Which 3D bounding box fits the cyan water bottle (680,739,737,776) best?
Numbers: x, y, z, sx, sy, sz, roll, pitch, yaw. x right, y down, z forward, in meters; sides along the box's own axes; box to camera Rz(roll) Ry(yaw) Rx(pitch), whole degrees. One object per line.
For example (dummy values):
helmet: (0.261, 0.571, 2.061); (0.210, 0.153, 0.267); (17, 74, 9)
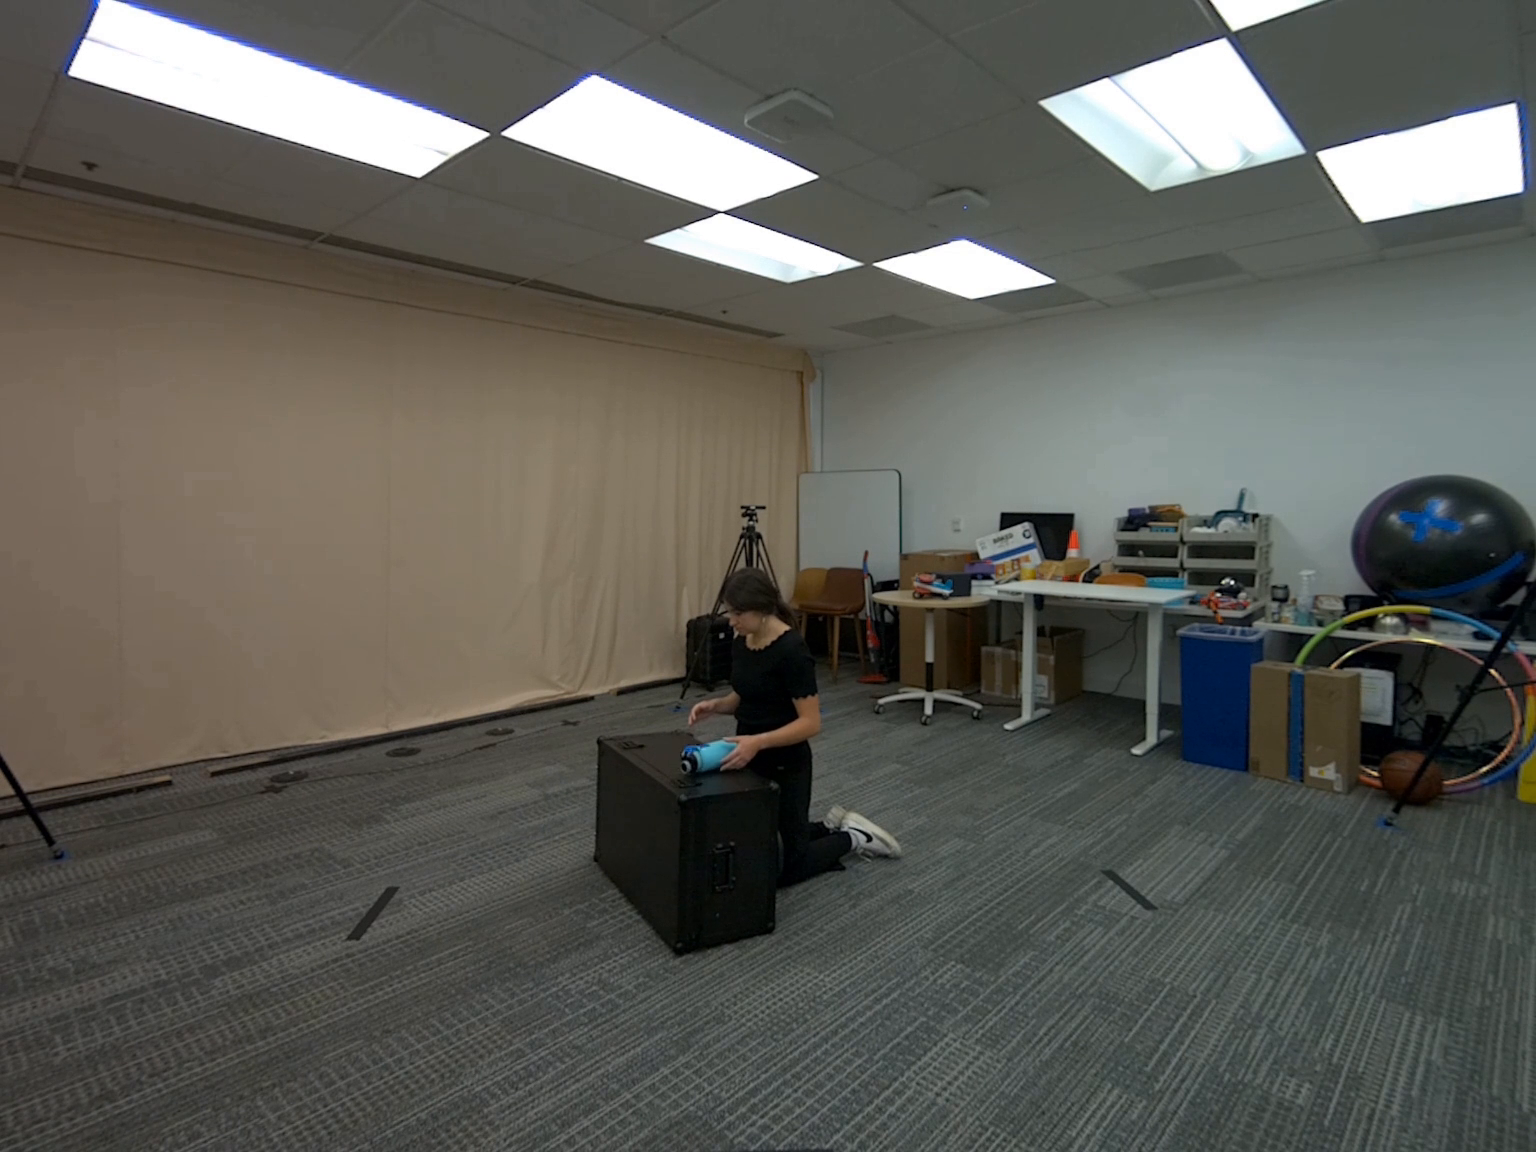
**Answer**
cyan water bottle: (-0.179, 0.615, 2.913); (0.274, 0.092, 0.095); (-2, 4, -42)
